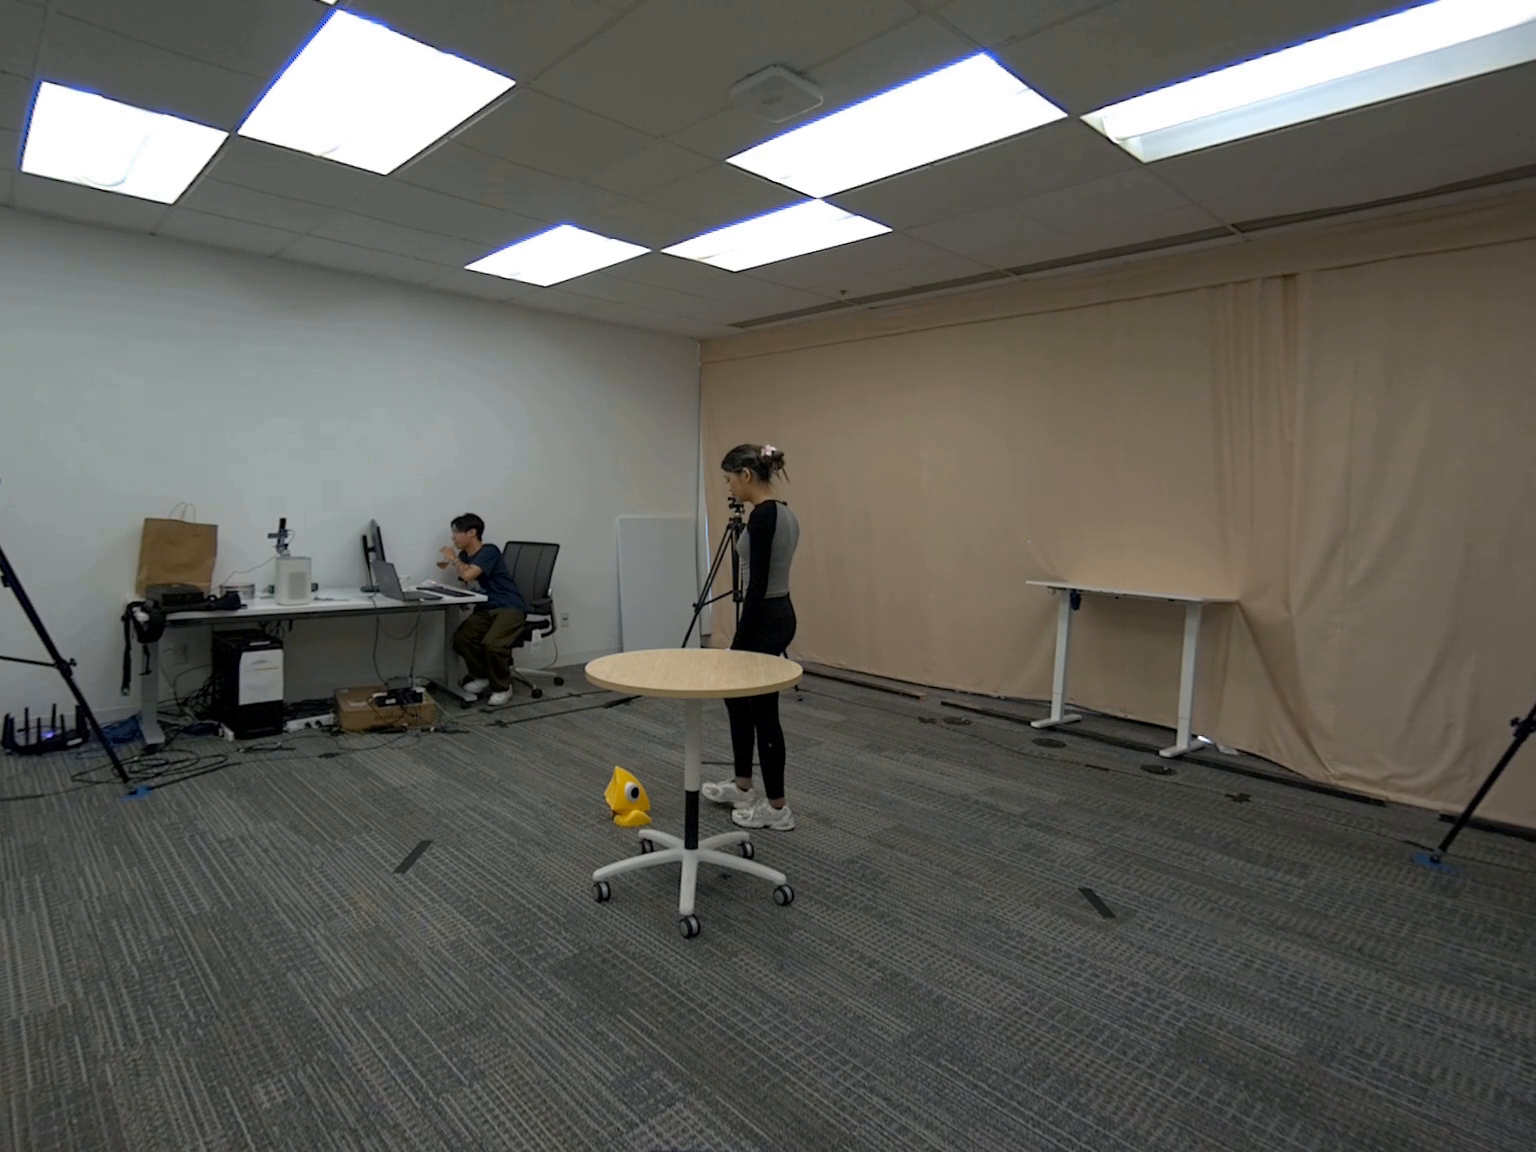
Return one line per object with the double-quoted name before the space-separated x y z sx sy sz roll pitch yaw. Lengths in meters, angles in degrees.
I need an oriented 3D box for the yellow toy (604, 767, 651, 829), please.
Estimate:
"yellow toy" -0.614 0.939 3.651 0.190 0.230 0.208 1 3 -19
